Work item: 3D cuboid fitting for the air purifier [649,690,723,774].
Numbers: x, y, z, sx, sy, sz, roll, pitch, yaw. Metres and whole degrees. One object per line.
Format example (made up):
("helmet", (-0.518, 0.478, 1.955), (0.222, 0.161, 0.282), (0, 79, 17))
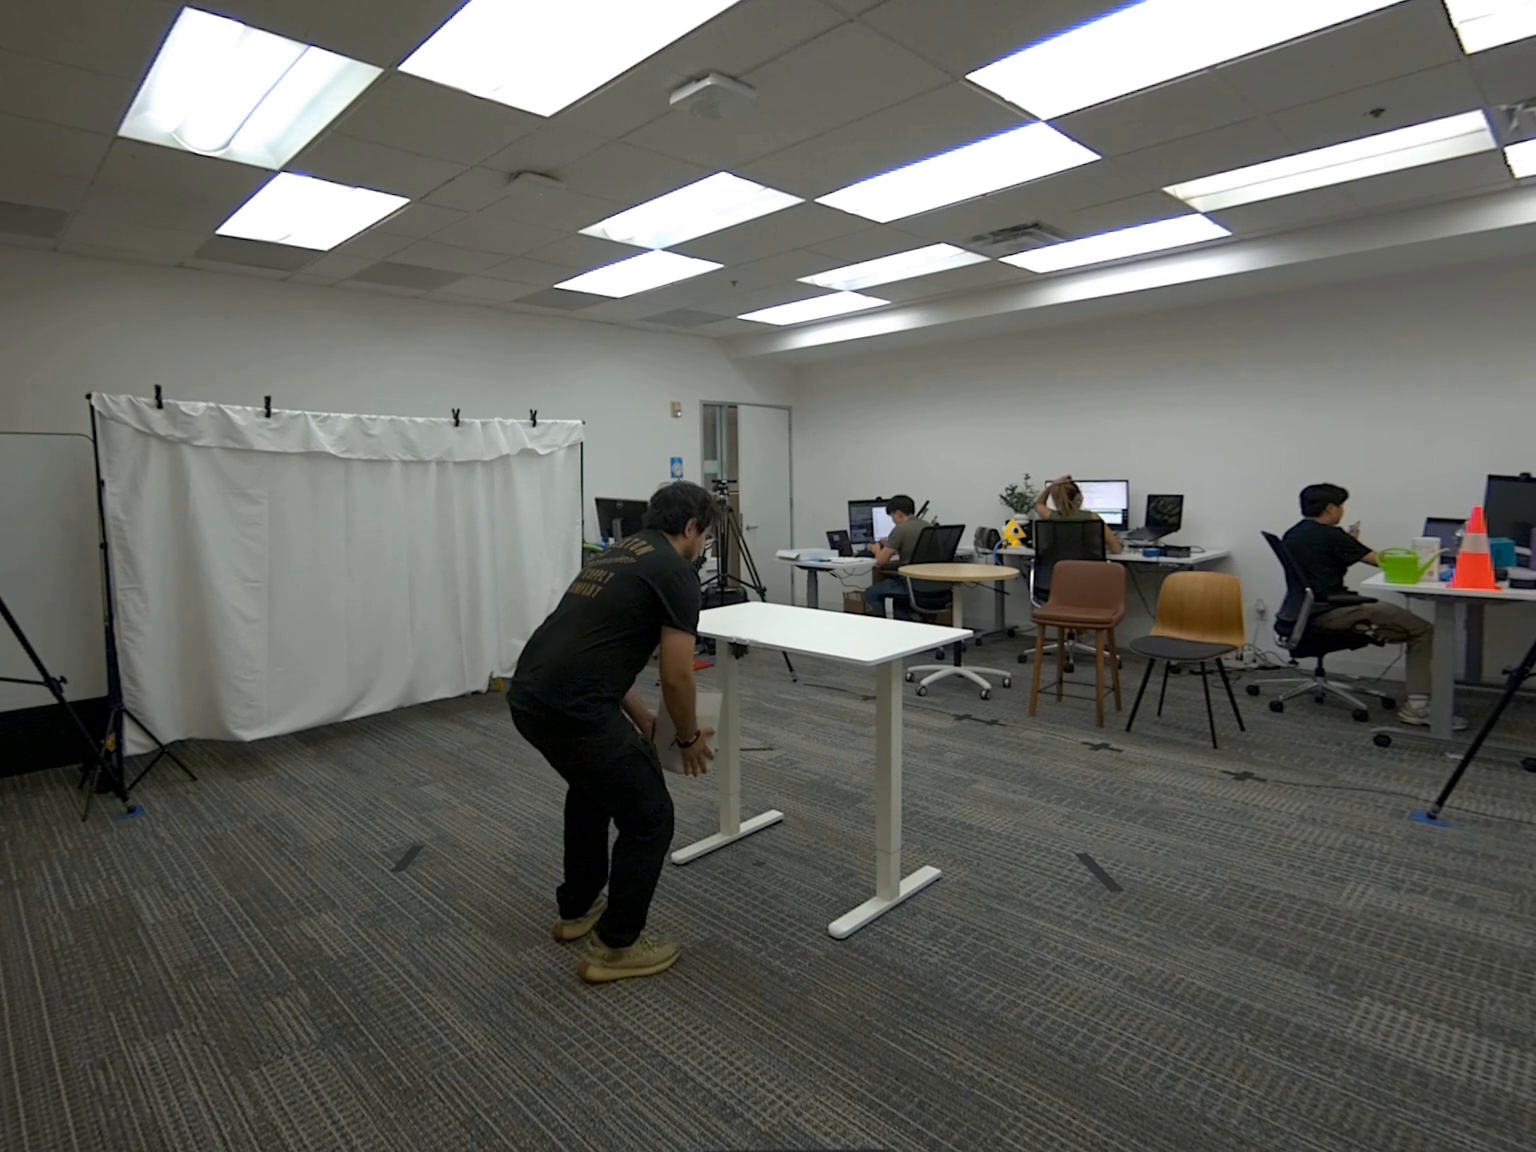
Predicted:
("air purifier", (-0.248, 0.485, 2.711), (0.166, 0.266, 0.176), (10, -4, -41))
